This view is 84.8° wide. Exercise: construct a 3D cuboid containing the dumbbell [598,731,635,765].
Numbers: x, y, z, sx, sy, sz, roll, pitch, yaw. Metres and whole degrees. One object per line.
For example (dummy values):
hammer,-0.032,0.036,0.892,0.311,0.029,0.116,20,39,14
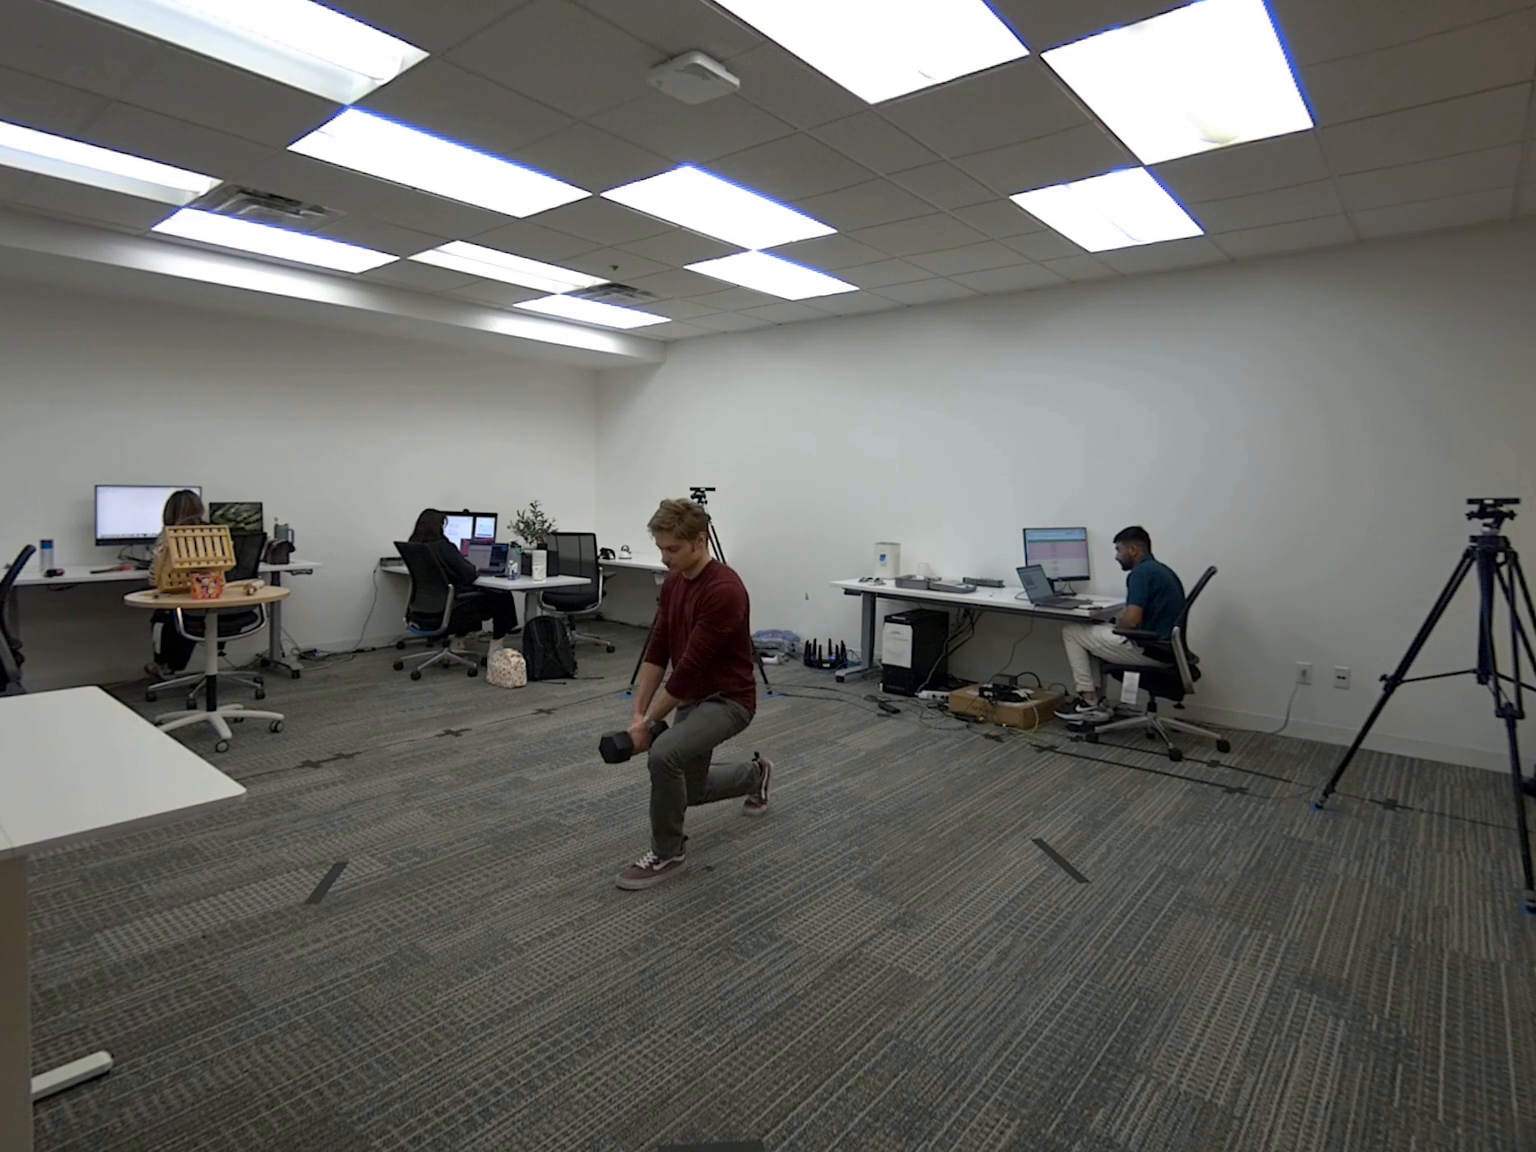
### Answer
dumbbell,-0.496,0.600,3.126,0.109,0.126,0.285,-44,-24,30
